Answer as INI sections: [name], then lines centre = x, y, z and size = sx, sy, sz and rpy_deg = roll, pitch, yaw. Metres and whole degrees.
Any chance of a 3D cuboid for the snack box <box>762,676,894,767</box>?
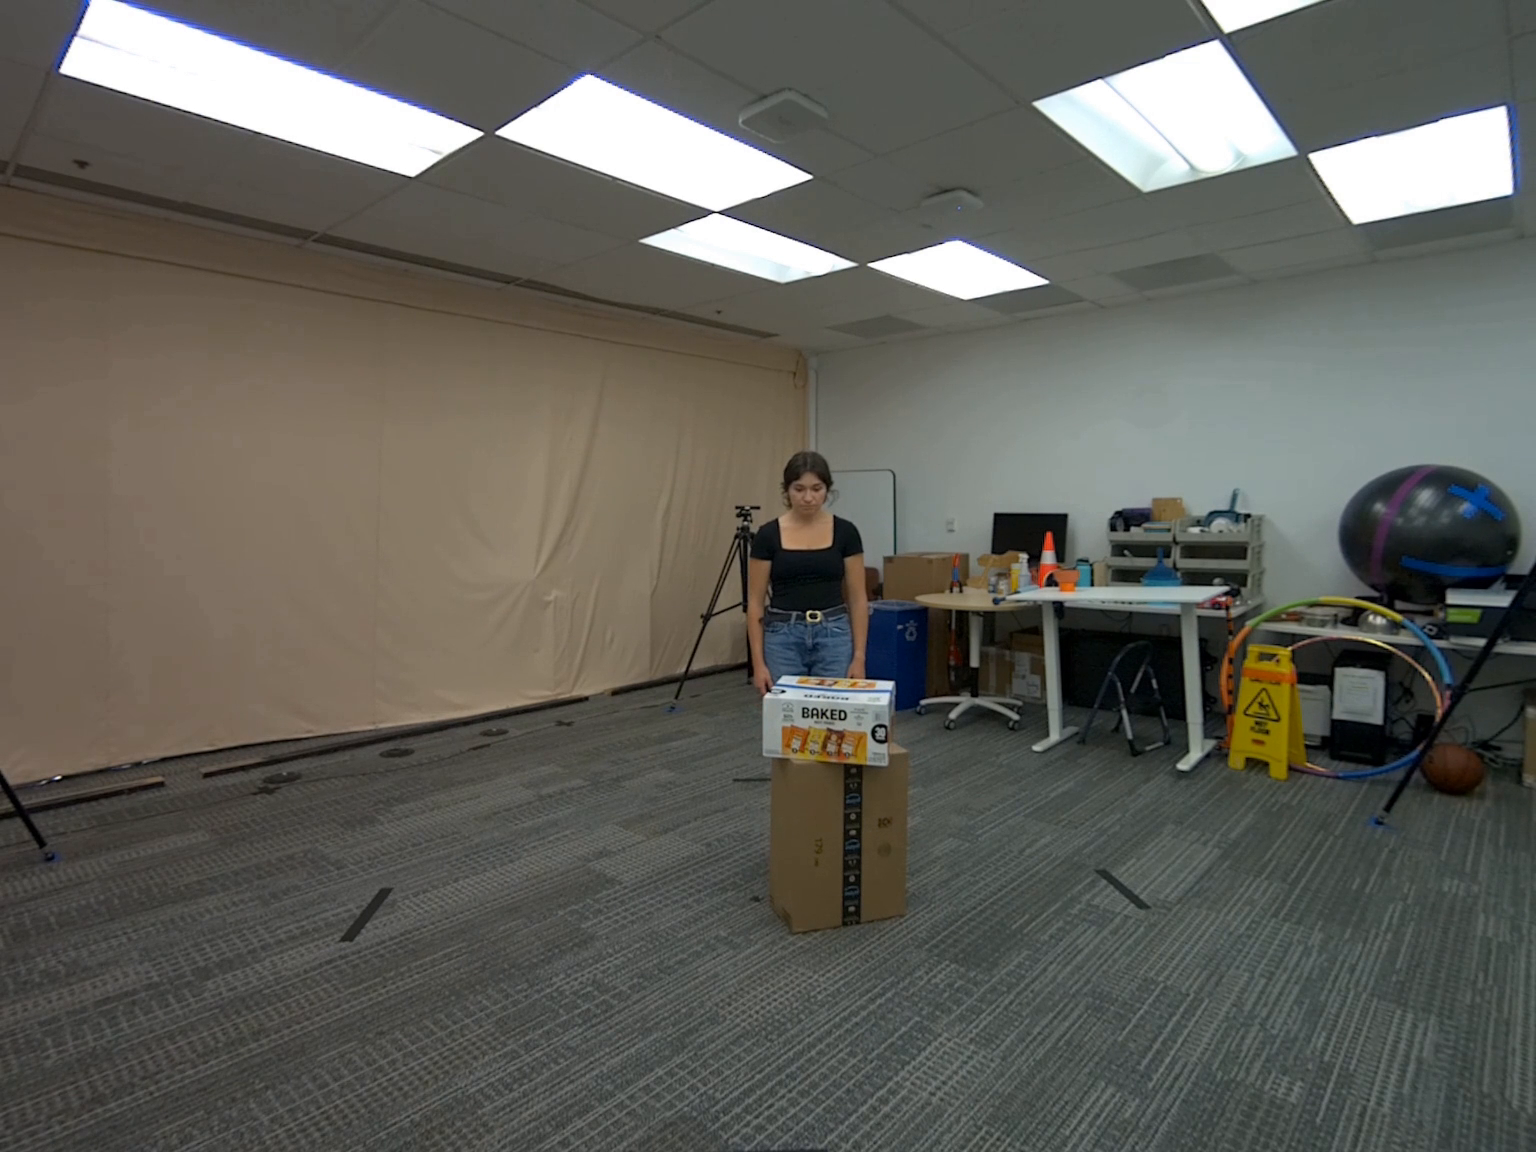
[snack box]
centre = 0.217, 0.483, 2.876
size = 0.412, 0.205, 0.336
rpy_deg = 1, 5, 14
